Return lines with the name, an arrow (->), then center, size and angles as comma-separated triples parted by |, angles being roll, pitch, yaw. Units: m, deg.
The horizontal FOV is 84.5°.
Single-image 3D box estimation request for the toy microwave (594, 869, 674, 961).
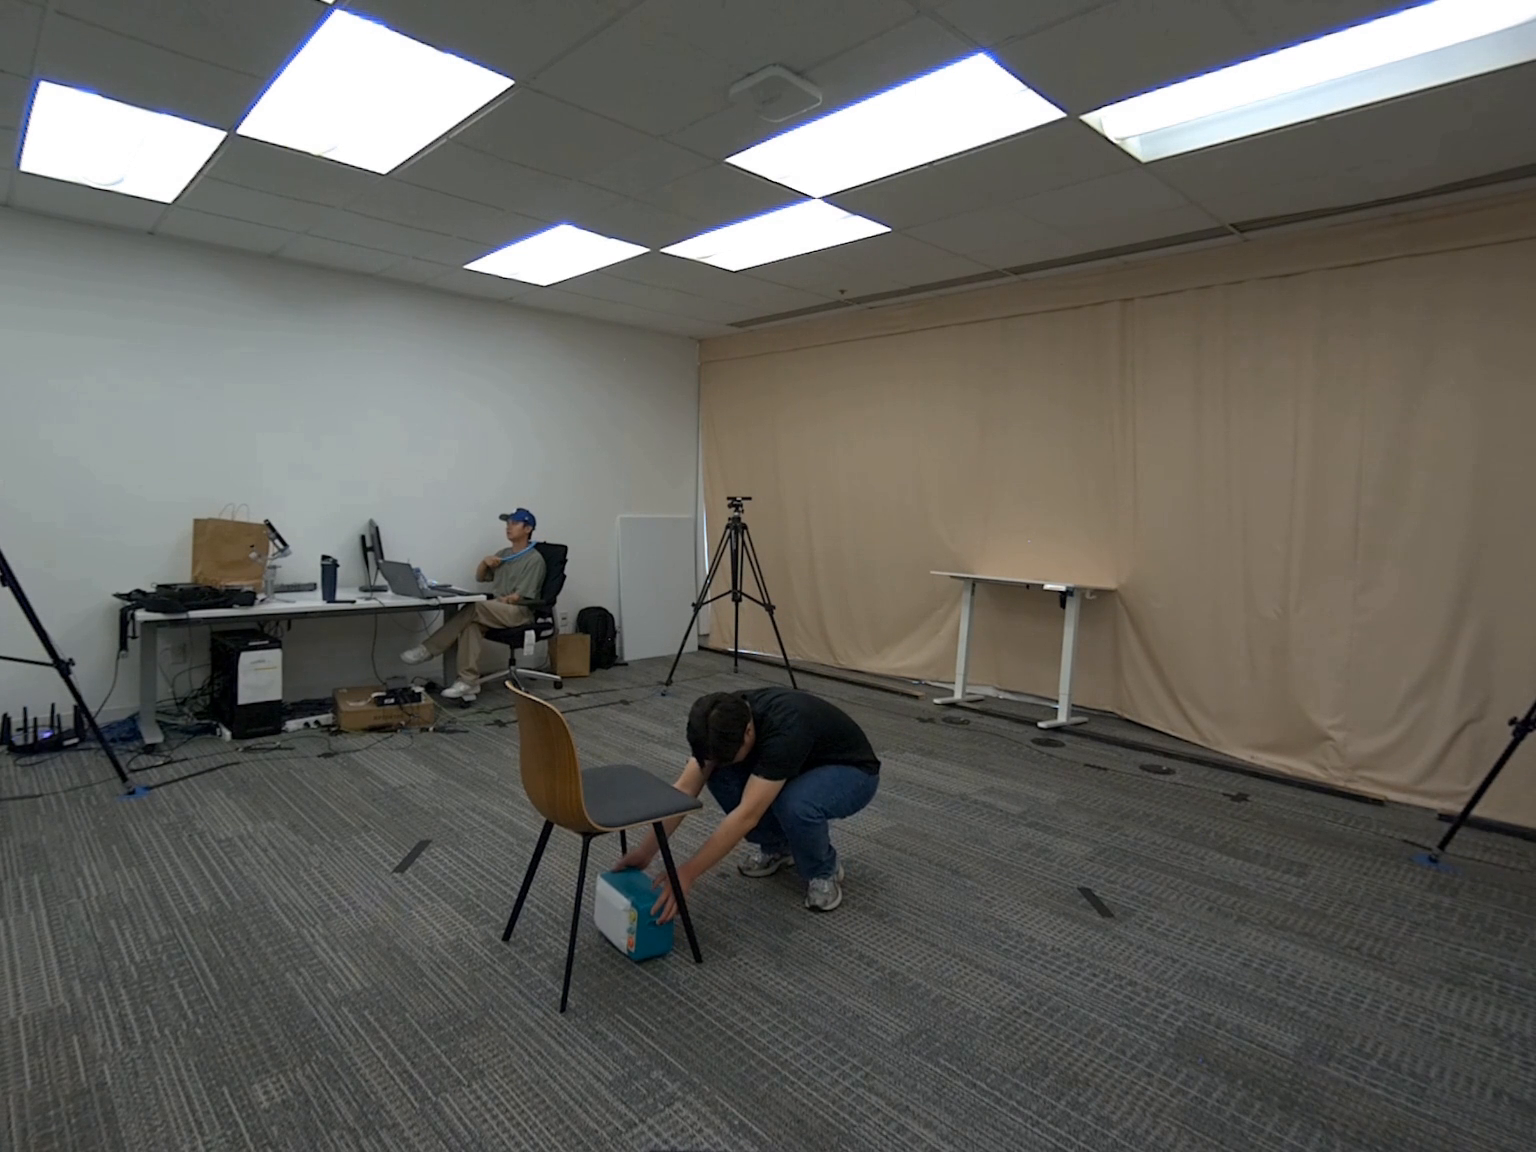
toy microwave -> -0.431, 1.058, 2.603 | 0.149, 0.183, 0.293 | -1, 5, -36
